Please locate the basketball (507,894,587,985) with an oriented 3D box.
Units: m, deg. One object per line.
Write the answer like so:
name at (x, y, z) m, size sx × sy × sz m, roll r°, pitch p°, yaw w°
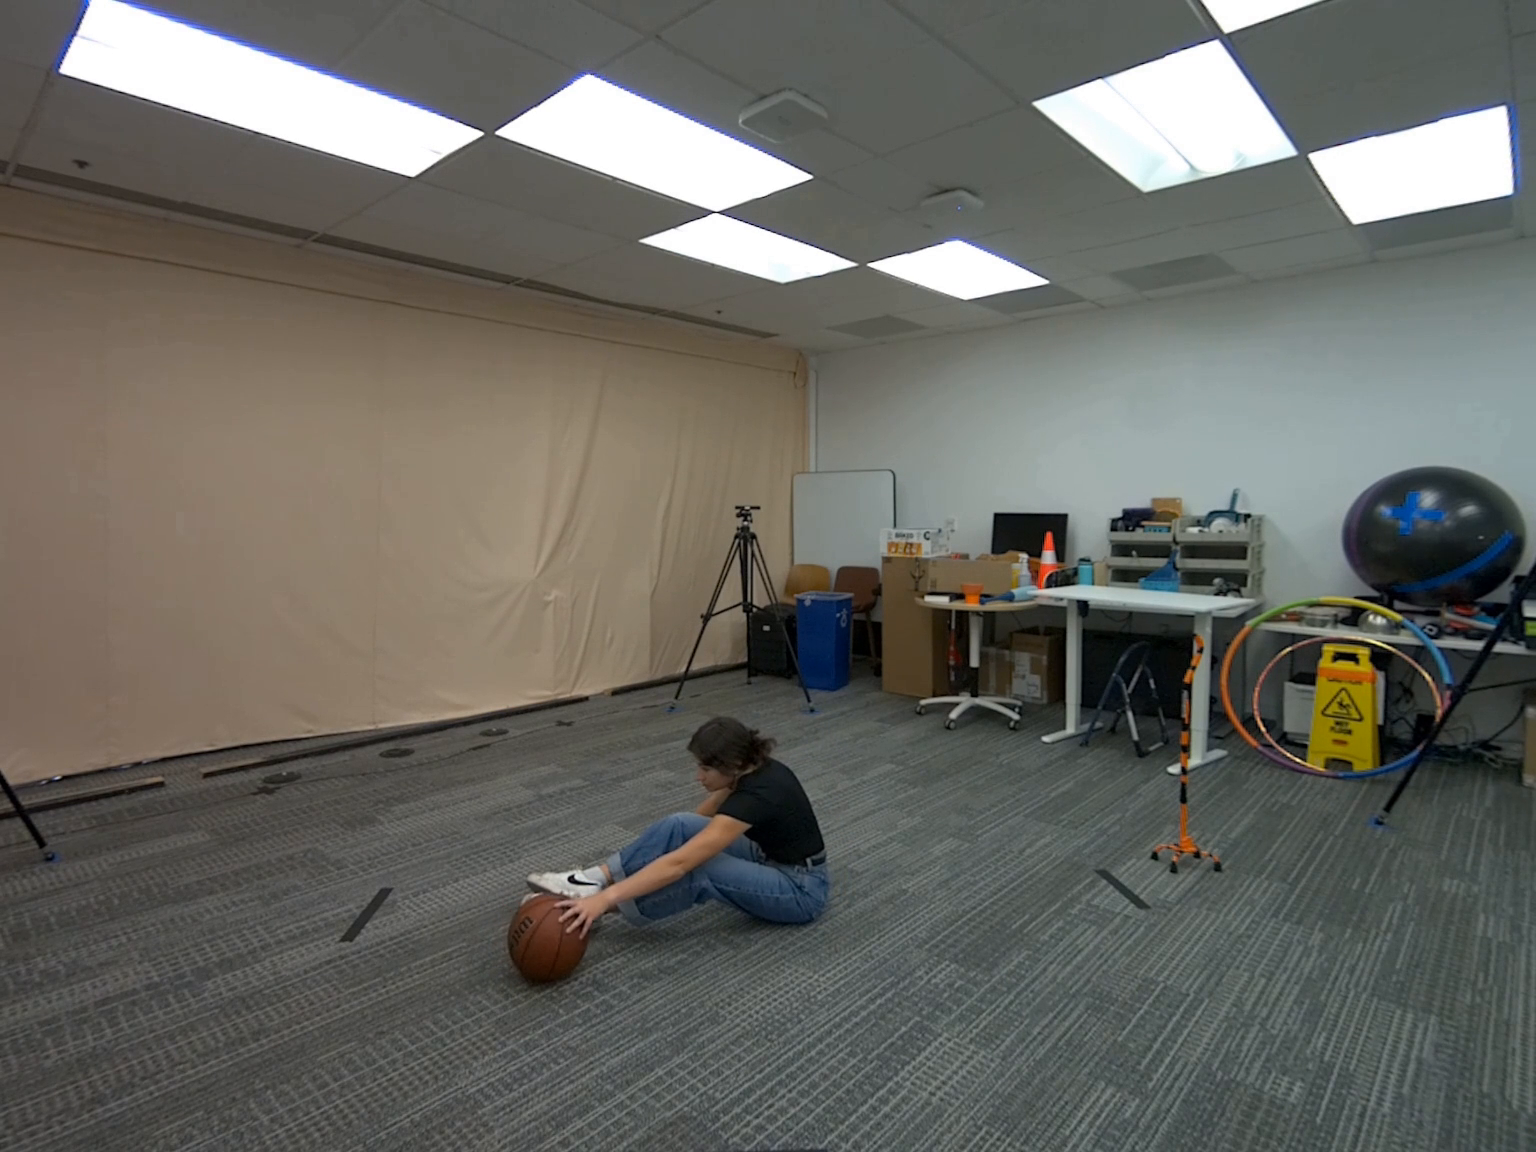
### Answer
basketball at (-0.651, 1.068, 2.493) m, size 0.236 × 0.235 × 0.237 m, roll 0°, pitch 4°, yaw -2°
